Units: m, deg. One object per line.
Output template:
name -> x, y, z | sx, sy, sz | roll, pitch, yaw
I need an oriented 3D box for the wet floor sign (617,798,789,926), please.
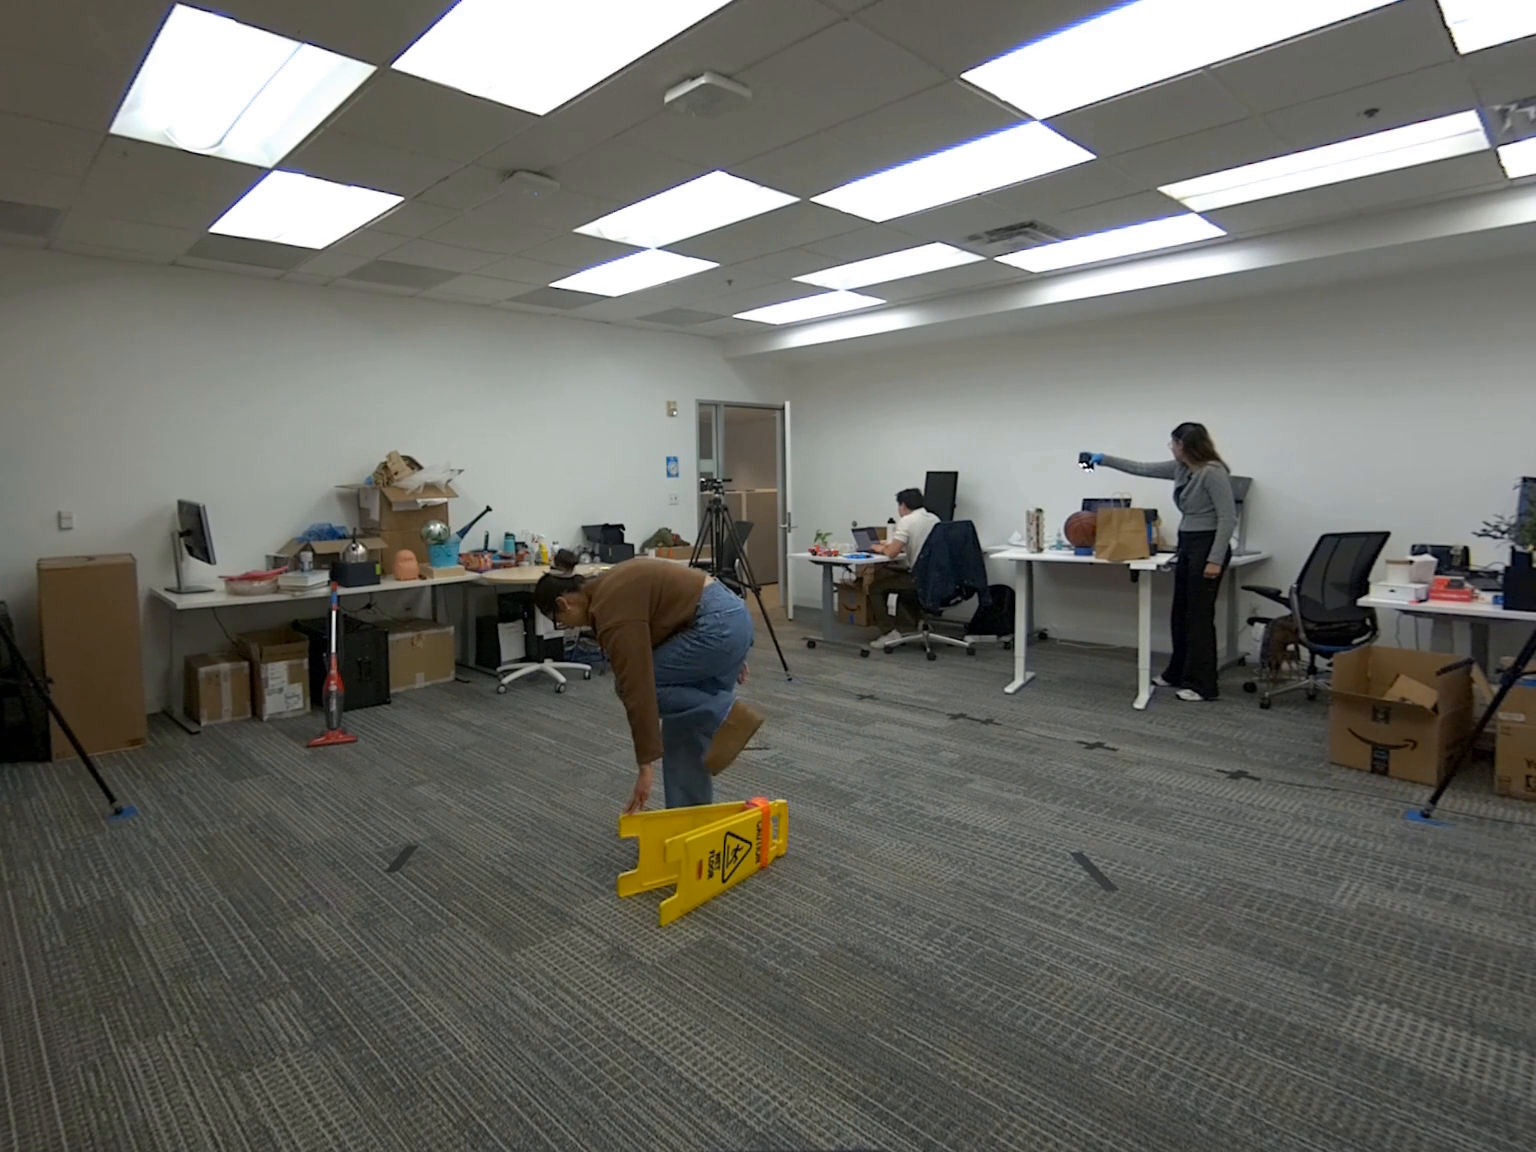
wet floor sign -> -0.178, 0.937, 2.968 | 0.628, 0.281, 0.299 | -3, 6, -40
